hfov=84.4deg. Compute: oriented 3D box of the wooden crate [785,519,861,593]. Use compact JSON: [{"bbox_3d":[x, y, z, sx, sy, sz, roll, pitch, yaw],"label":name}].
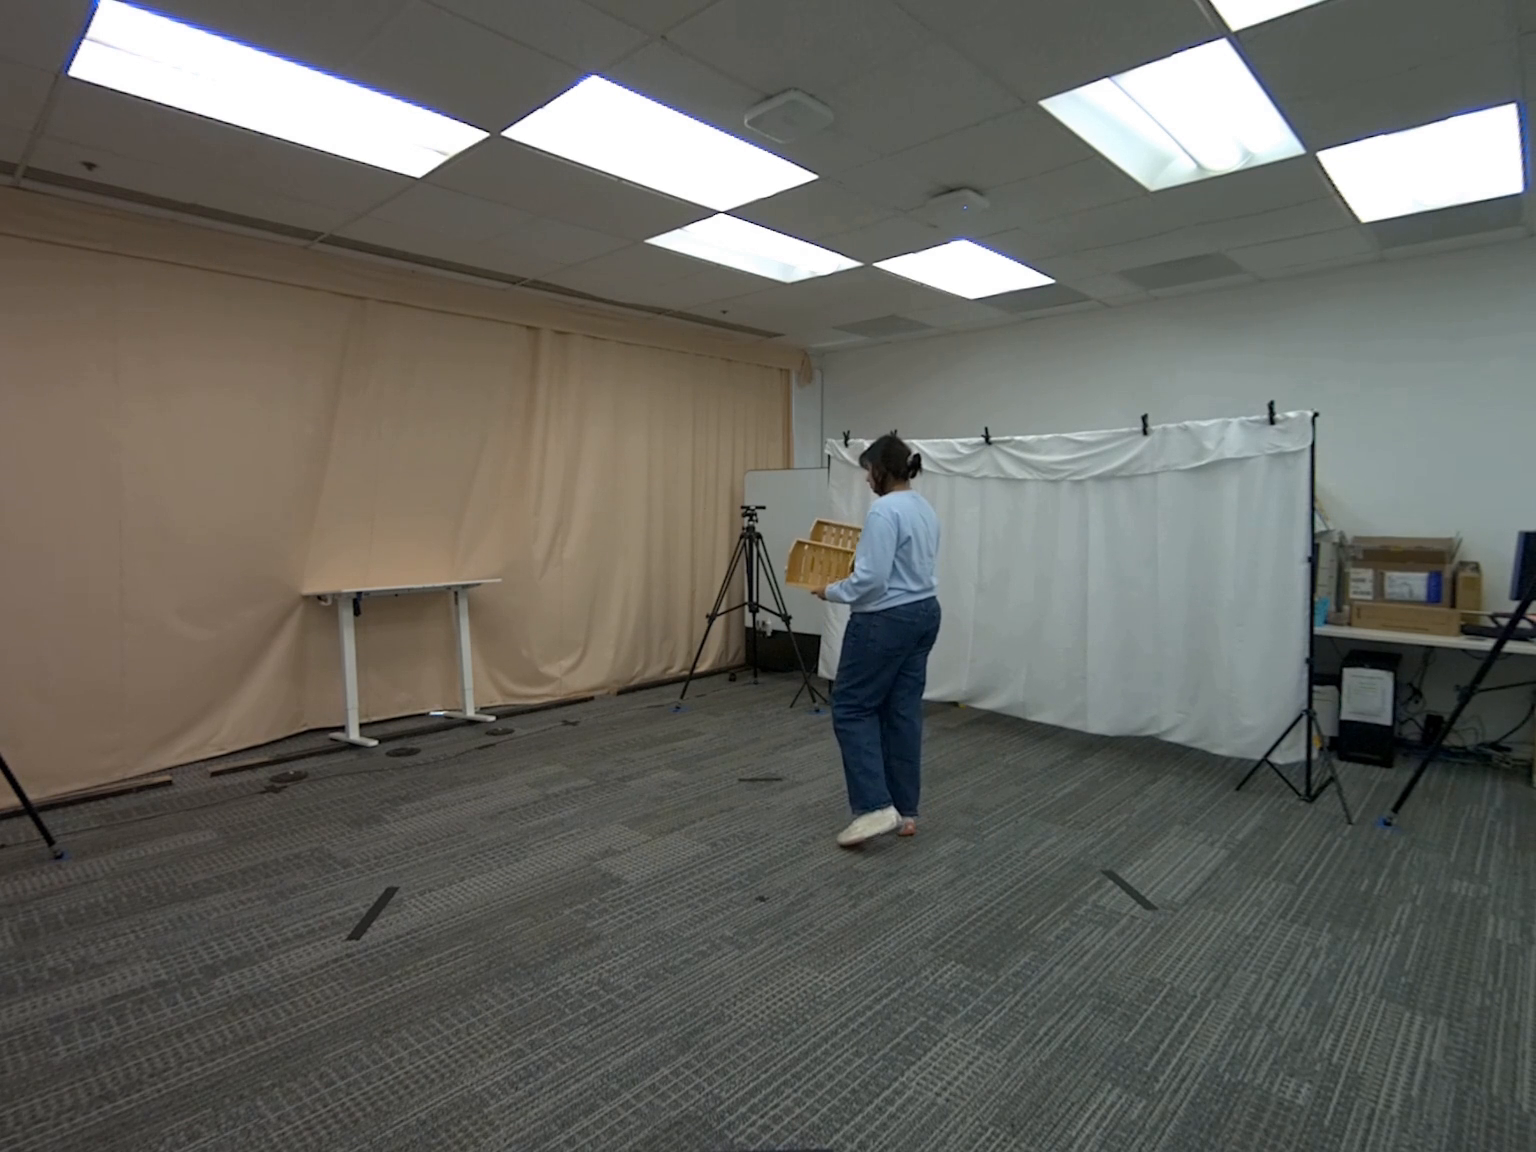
[{"bbox_3d":[0.289,-0.084,3.786,0.334,0.301,0.266,14,10,28],"label":"wooden crate"}]
